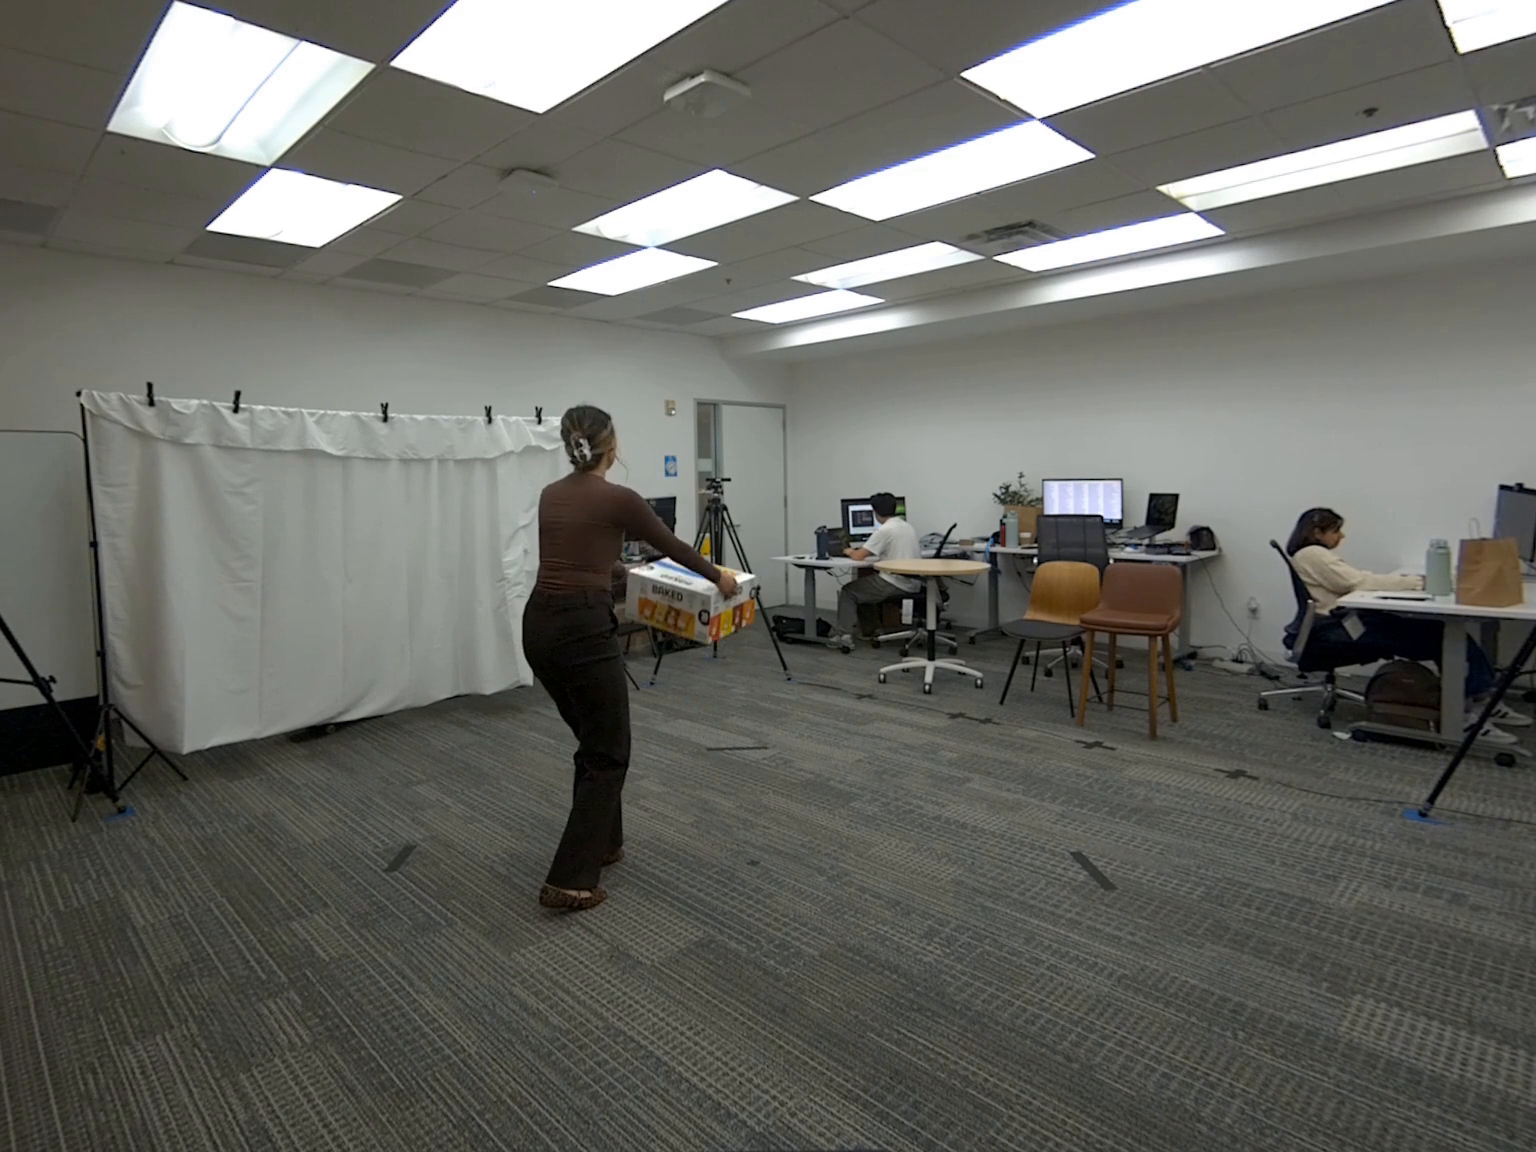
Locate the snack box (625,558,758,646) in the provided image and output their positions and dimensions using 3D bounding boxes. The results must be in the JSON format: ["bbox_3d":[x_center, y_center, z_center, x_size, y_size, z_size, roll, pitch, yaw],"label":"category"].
[{"bbox_3d":[-0.312,0.091,3.472,0.417,0.203,0.334,14,19,29],"label":"snack box"}]
